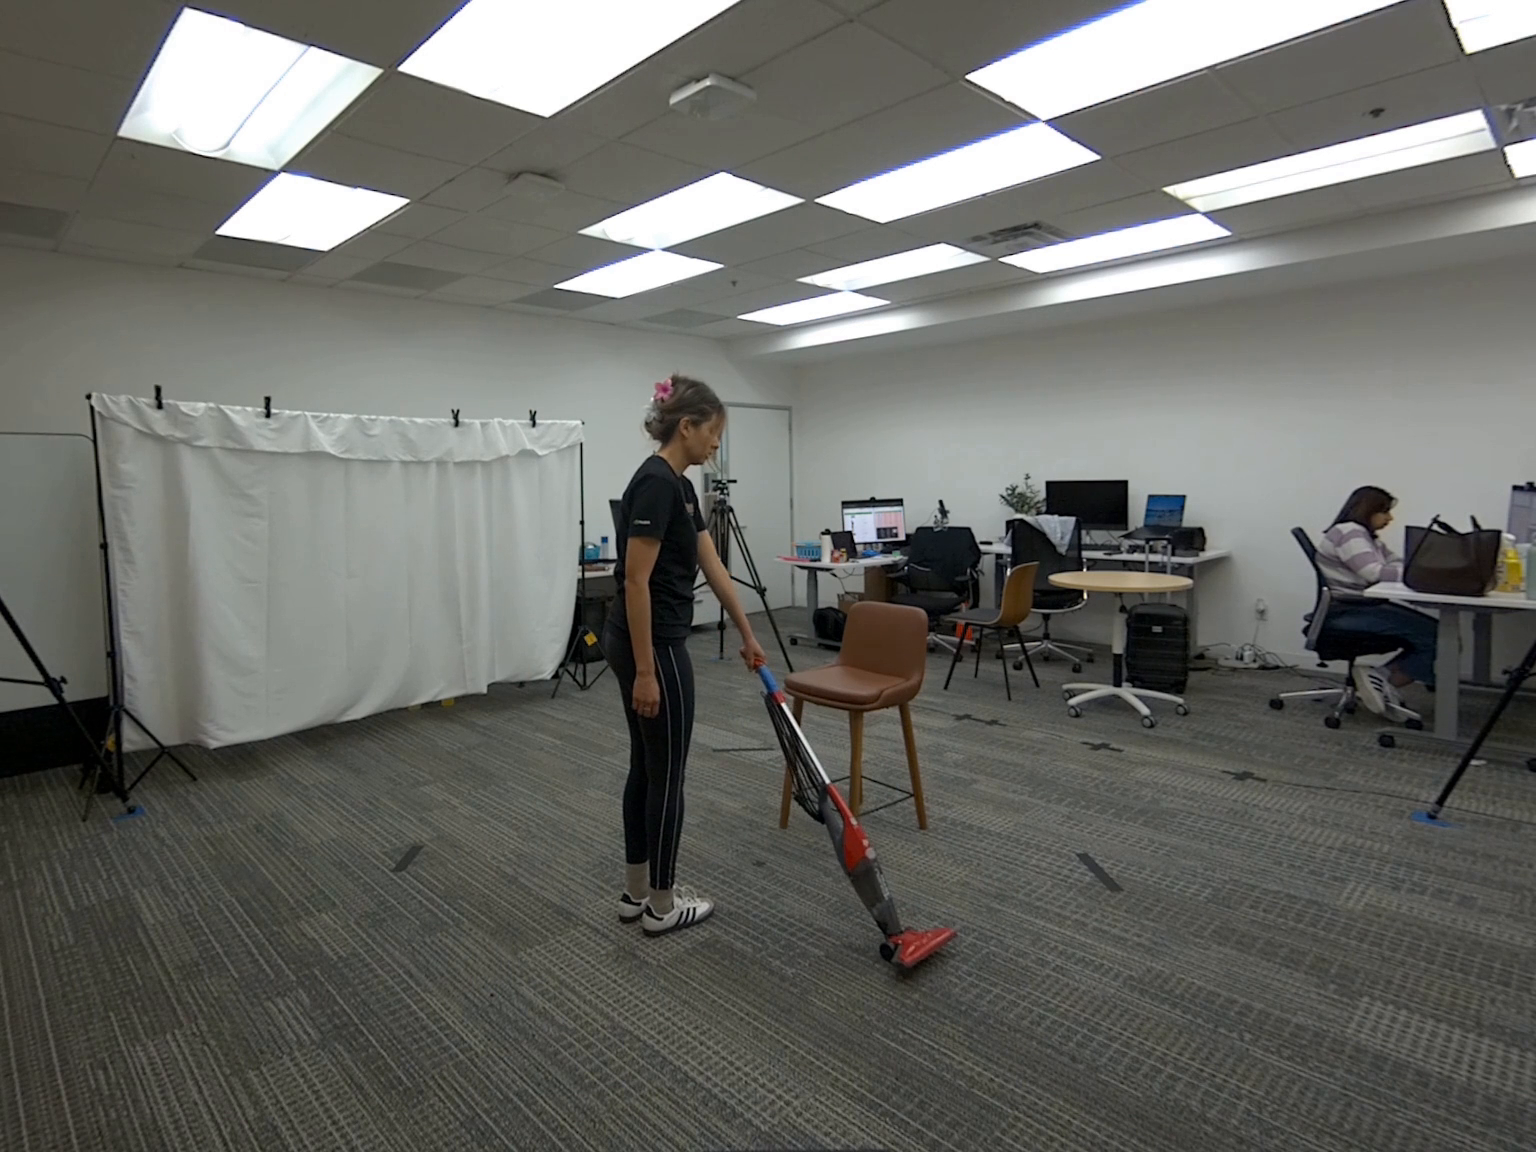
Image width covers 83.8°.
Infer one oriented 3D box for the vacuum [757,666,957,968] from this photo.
[{"bbox_3d":[0.166,0.683,2.714,0.246,1.083,0.143,-4,-38,-44],"label":"vacuum"}]
